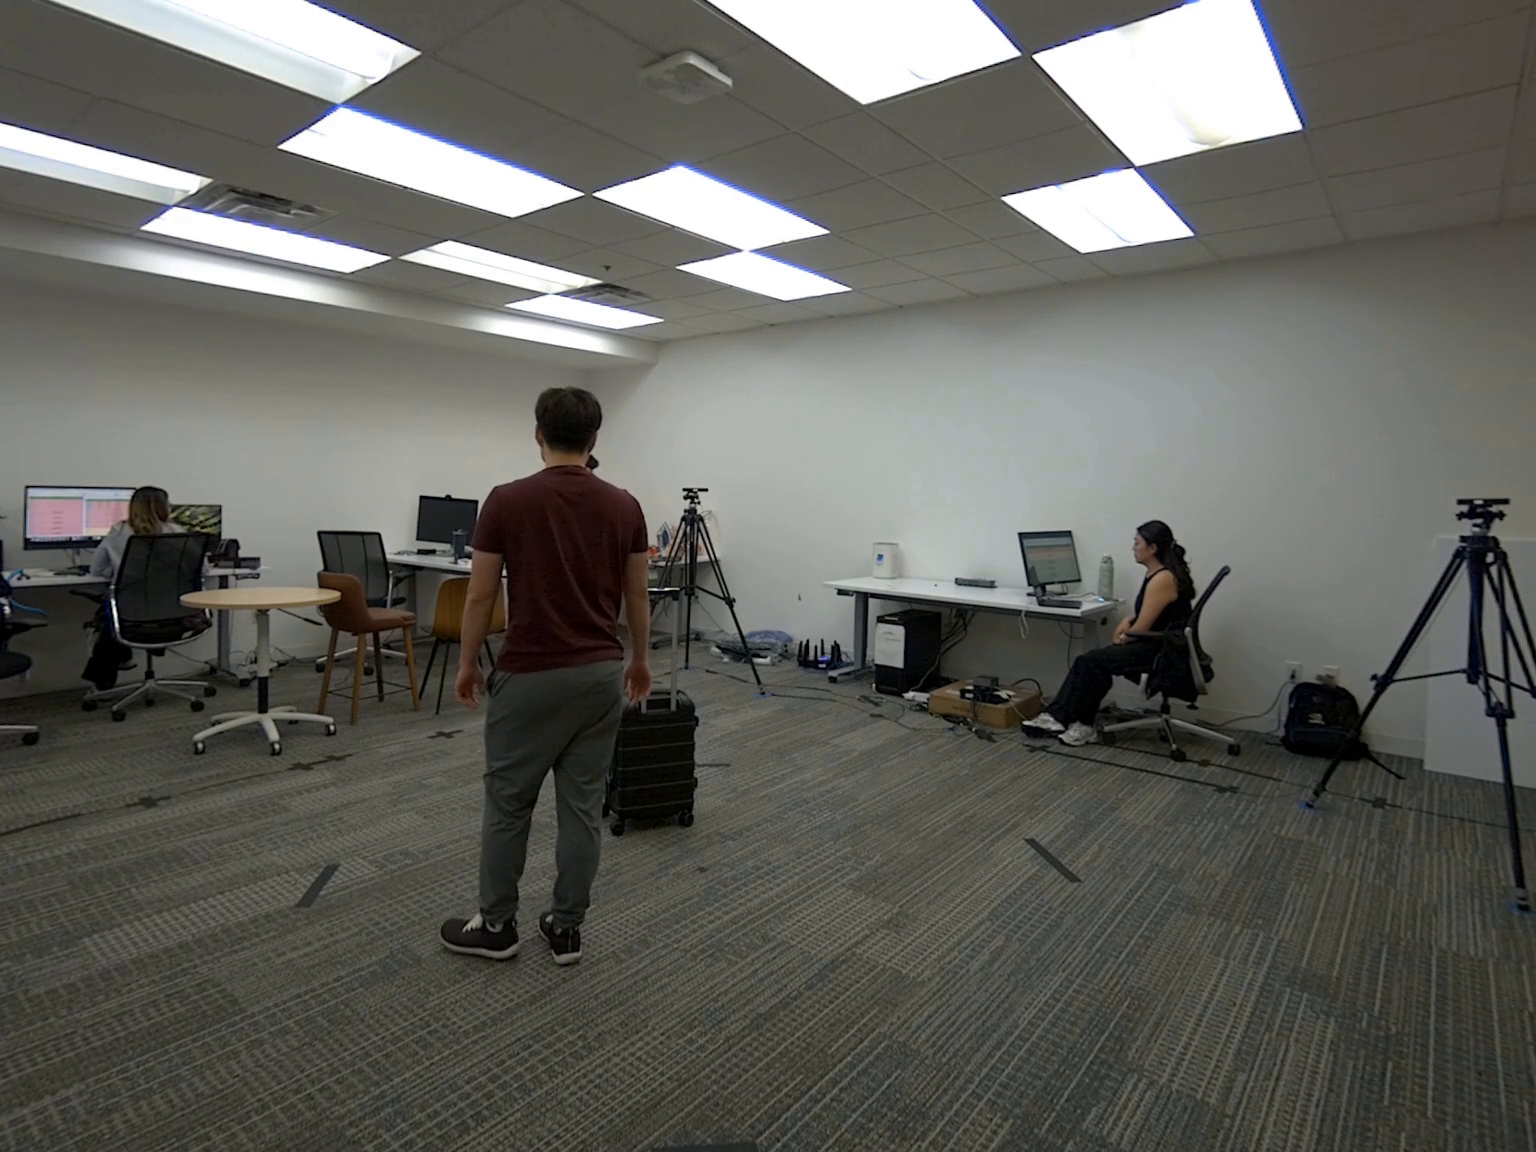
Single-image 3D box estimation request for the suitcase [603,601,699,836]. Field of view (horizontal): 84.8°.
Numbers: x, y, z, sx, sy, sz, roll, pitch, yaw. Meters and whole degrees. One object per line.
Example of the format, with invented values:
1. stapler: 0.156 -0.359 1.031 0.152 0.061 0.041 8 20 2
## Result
1. suitcase: -0.509 0.546 3.558 0.376 0.979 0.262 1 0 -20
